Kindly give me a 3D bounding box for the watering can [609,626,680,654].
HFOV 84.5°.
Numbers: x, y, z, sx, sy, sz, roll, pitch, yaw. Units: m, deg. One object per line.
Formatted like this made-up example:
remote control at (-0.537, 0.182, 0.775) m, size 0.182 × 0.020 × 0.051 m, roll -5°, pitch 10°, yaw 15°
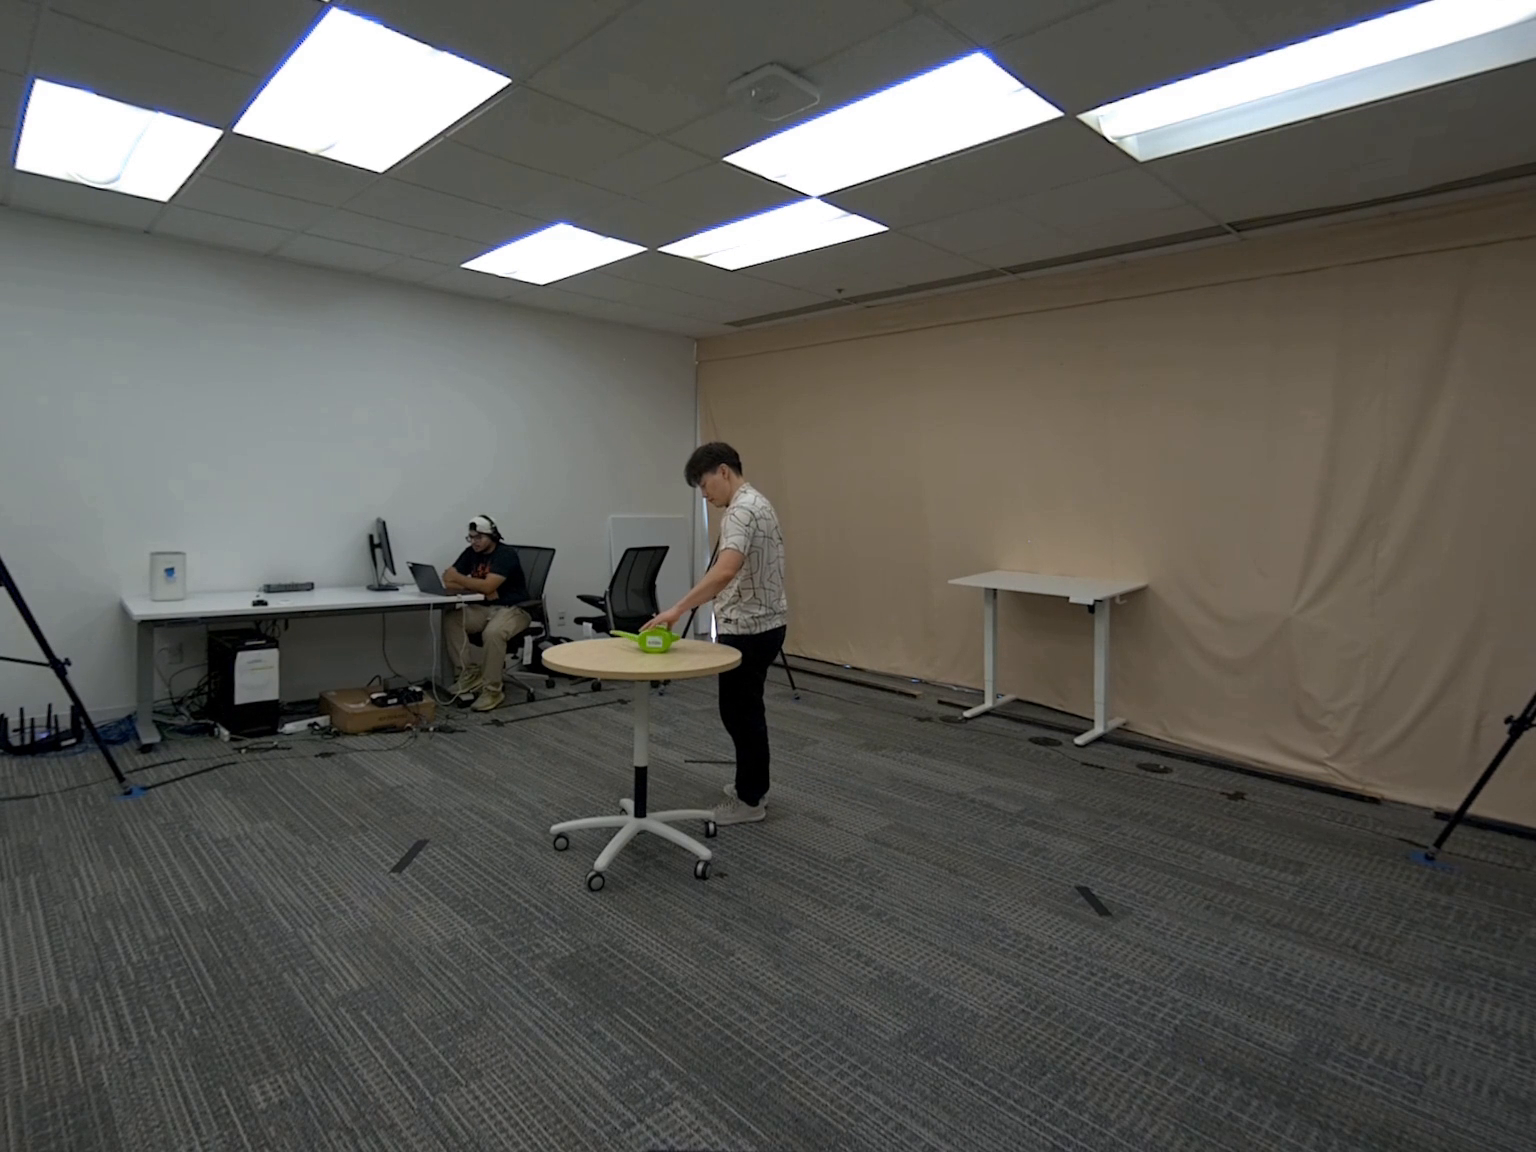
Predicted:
watering can at (-0.498, 0.257, 3.325) m, size 0.278 × 0.098 × 0.178 m, roll -11°, pitch 5°, yaw -3°
